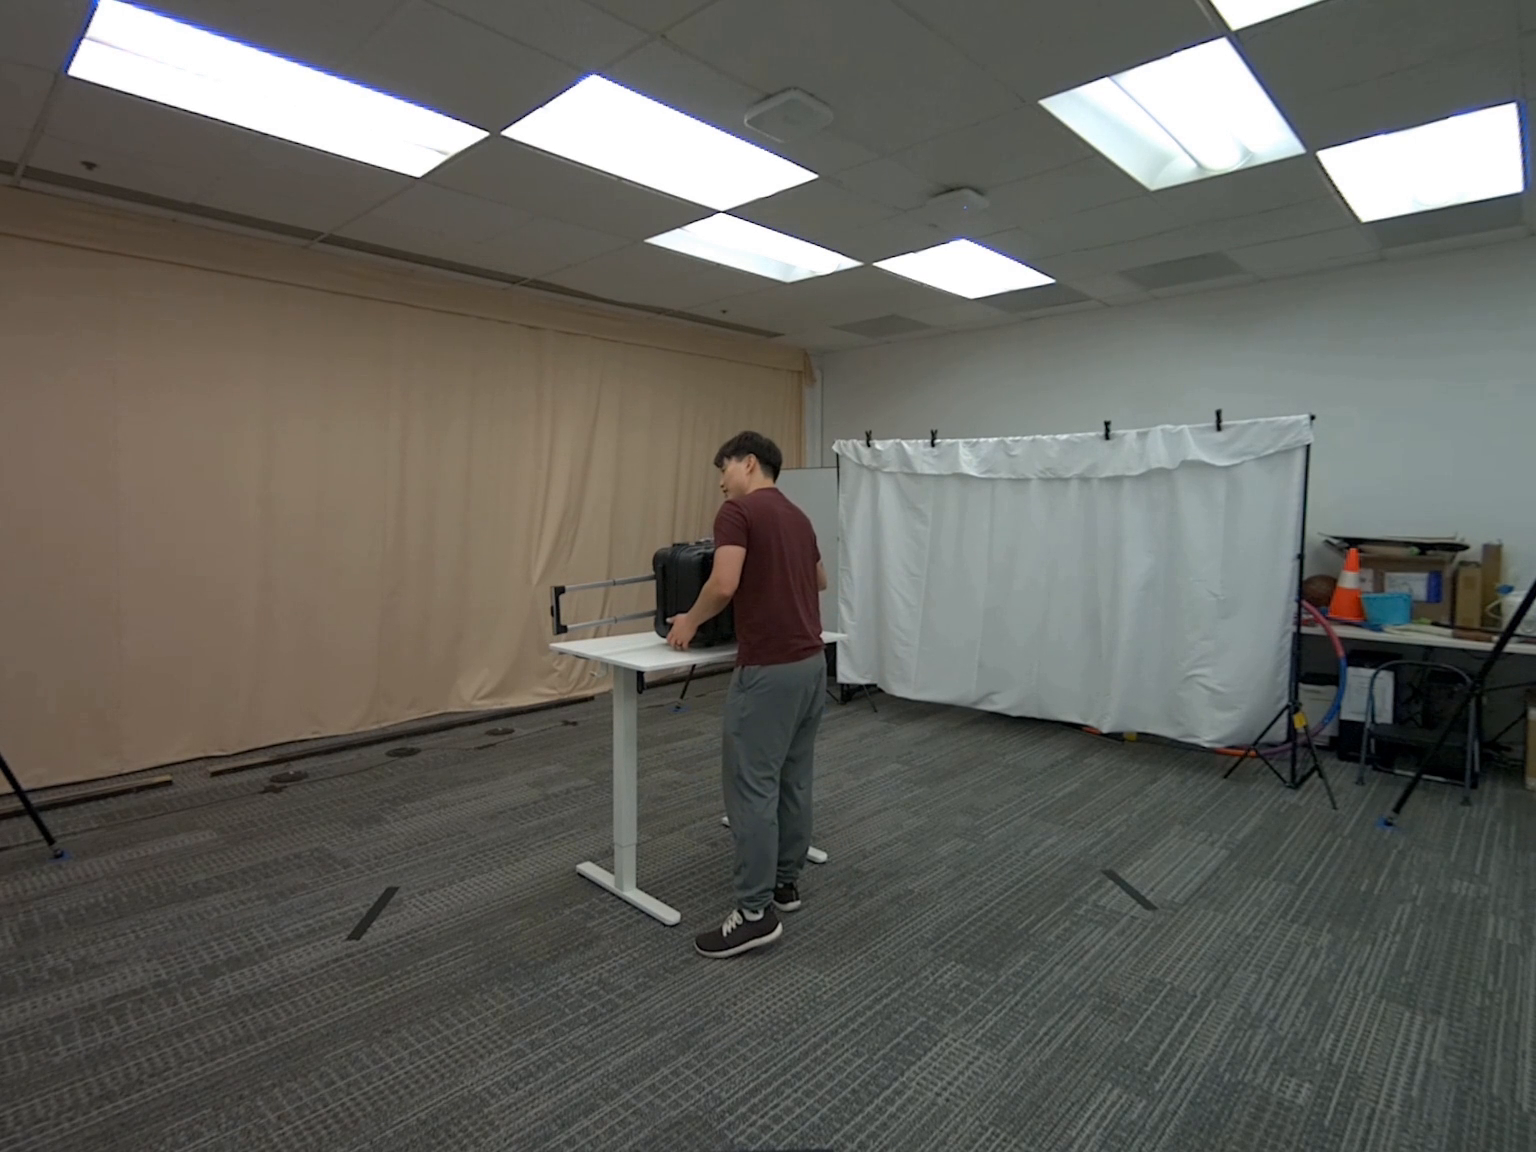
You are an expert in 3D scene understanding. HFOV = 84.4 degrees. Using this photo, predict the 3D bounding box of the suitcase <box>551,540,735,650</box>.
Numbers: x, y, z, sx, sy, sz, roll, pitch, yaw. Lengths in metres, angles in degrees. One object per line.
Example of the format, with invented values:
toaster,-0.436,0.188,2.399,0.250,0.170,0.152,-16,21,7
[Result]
suitcase,-0.318,0.074,3.054,0.265,0.383,0.949,4,6,41
